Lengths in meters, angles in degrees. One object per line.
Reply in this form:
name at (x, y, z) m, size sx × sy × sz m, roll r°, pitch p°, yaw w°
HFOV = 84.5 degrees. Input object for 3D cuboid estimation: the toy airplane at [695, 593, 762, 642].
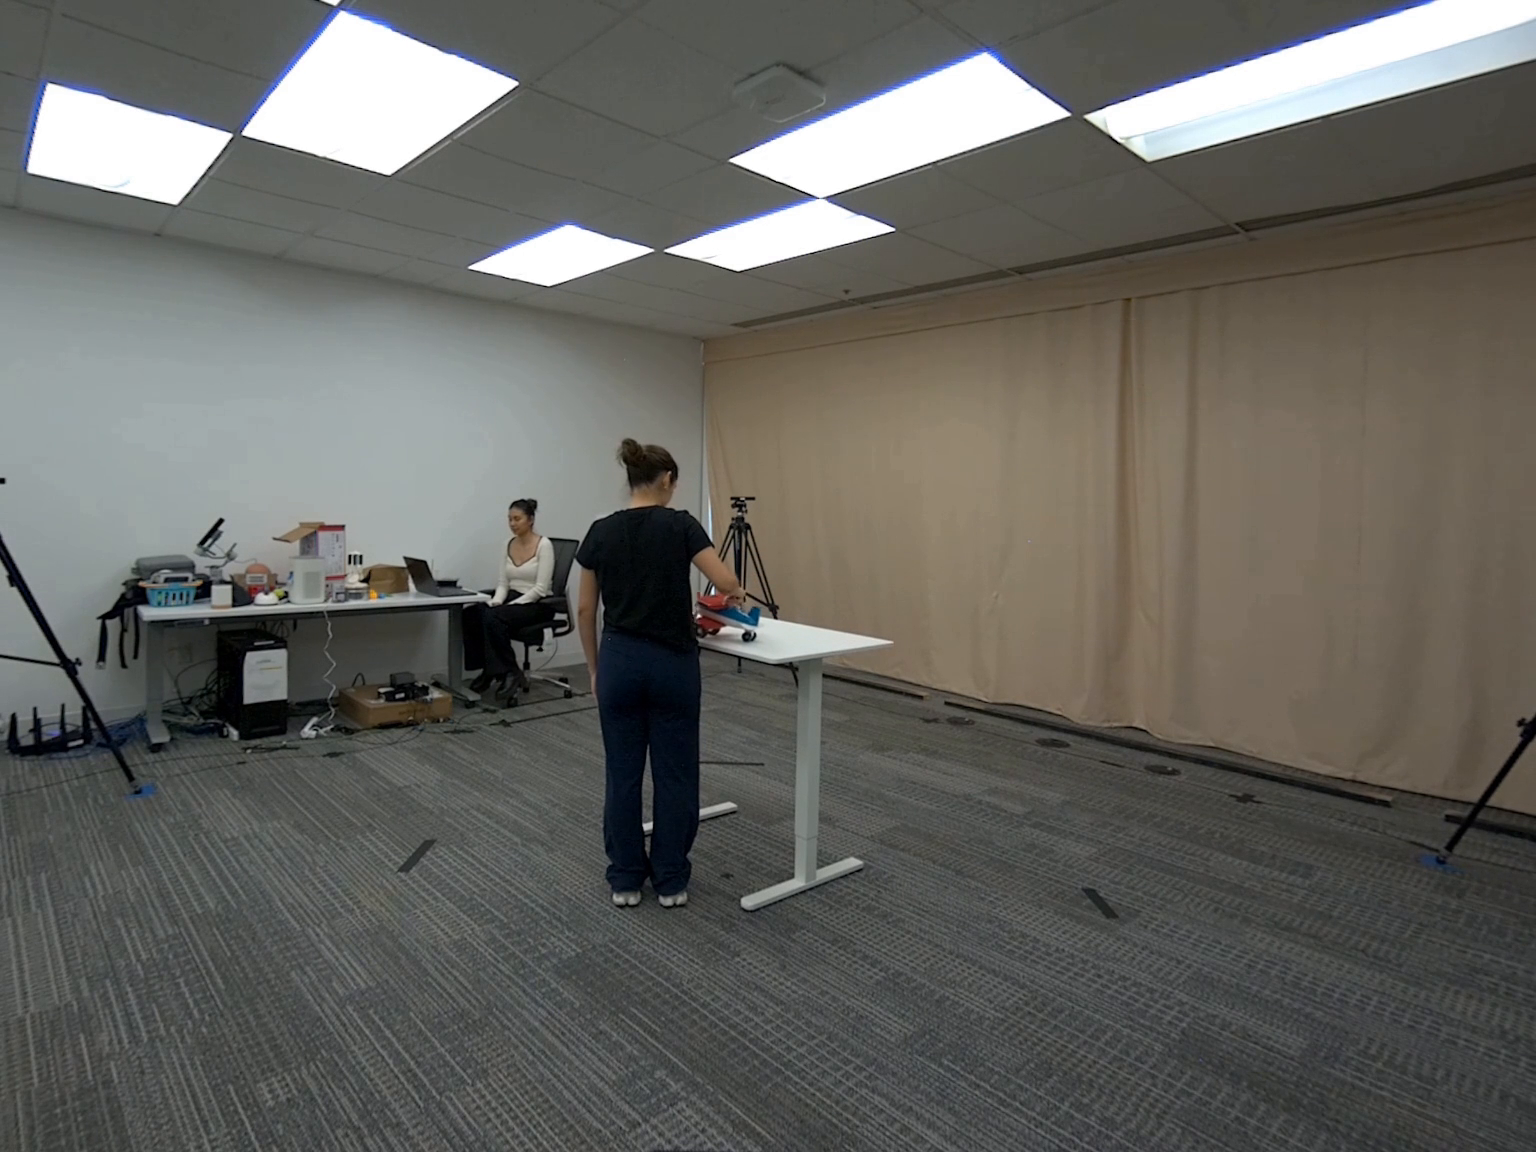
toy airplane at (-0.146, 0.152, 3.067) m, size 0.259 × 0.156 × 0.252 m, roll 1°, pitch 4°, yaw -2°
